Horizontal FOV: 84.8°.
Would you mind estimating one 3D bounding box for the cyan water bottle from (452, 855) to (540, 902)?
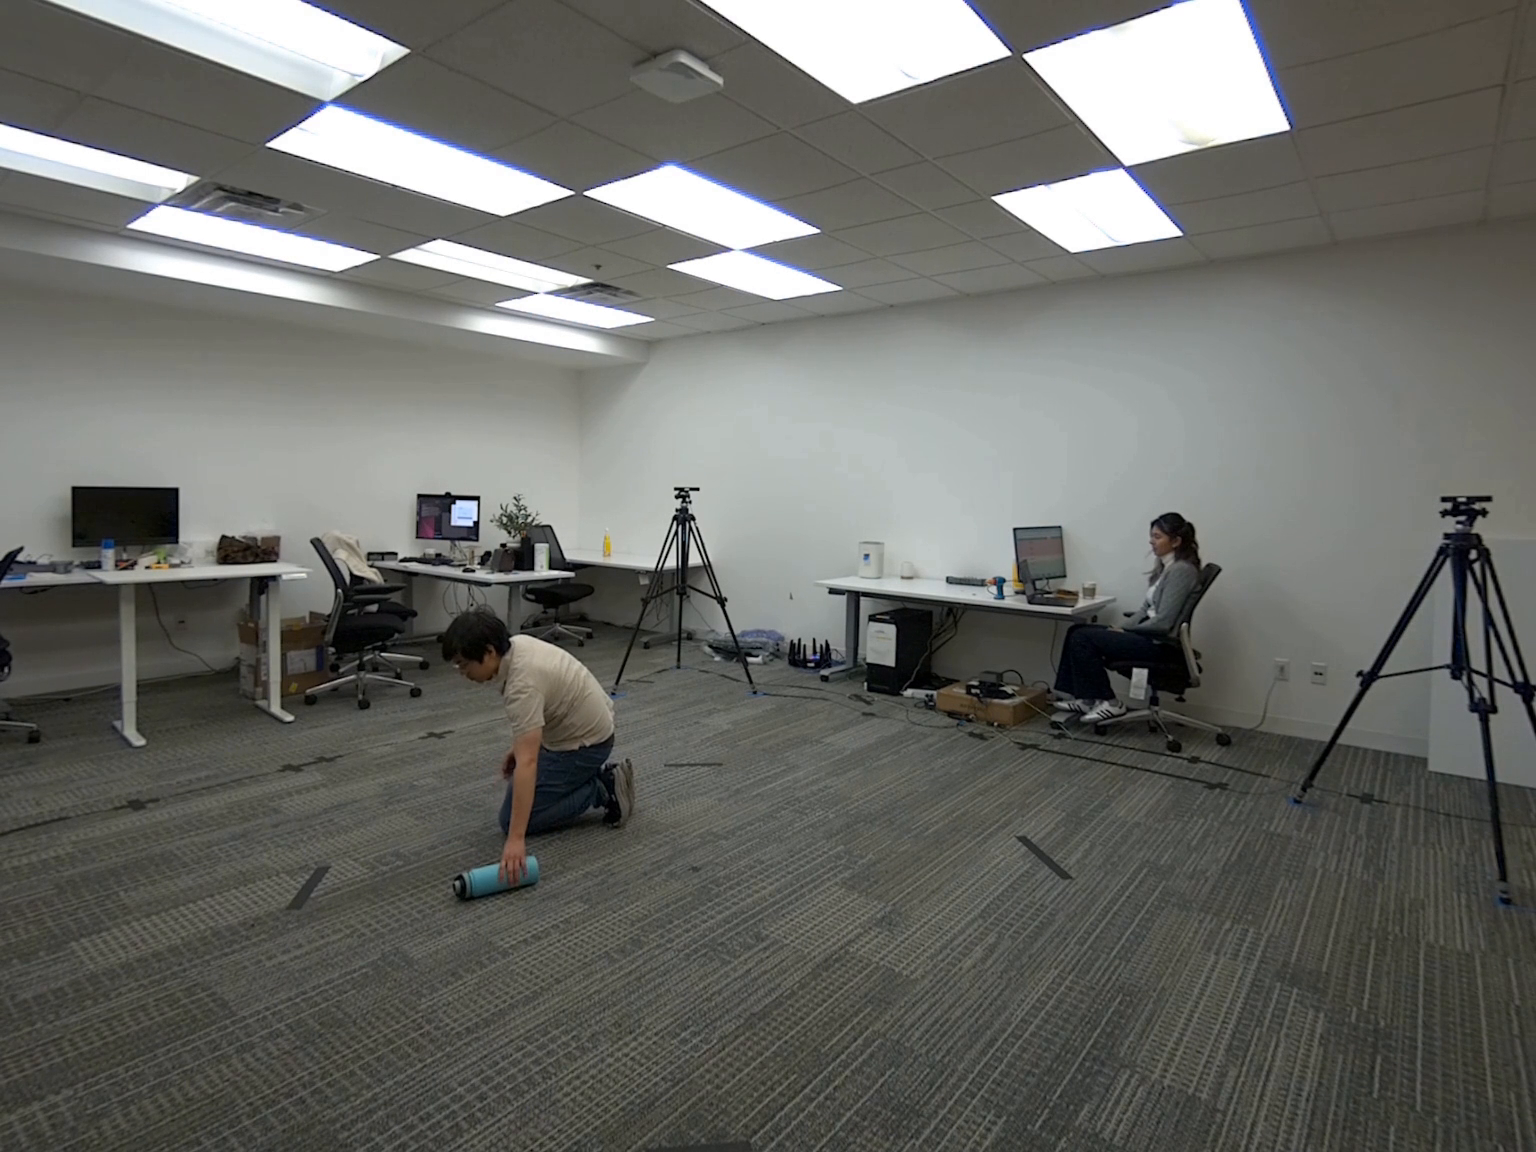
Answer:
[{"bbox_3d":[-0.955,1.038,2.914,0.276,0.092,0.095,0,4,-29],"label":"cyan water bottle"}]
